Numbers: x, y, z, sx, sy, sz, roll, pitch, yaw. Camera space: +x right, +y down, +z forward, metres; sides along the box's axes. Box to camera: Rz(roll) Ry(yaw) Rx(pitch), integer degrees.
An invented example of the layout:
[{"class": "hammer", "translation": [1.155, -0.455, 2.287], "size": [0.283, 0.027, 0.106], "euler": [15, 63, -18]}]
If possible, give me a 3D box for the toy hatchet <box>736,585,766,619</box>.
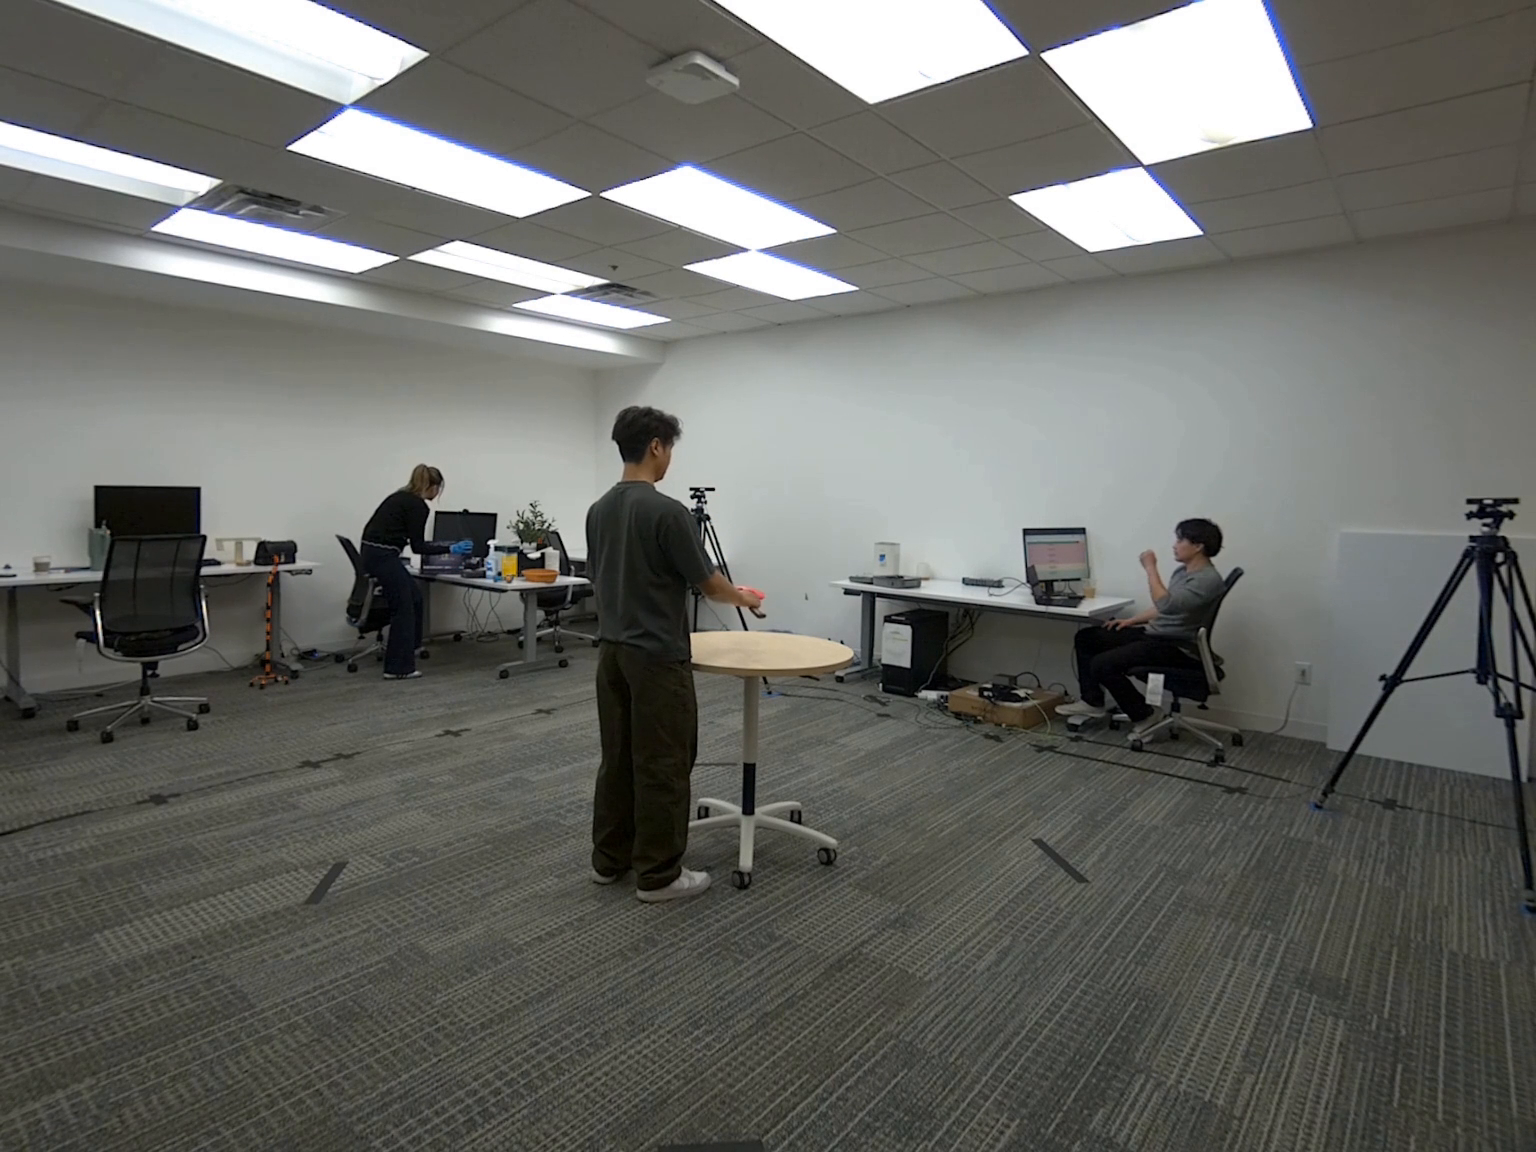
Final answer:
[{"class": "toy hatchet", "translation": [-0.038, 0.084, 3.179], "size": [0.127, 0.029, 0.280], "euler": [5, 16, -28]}]
